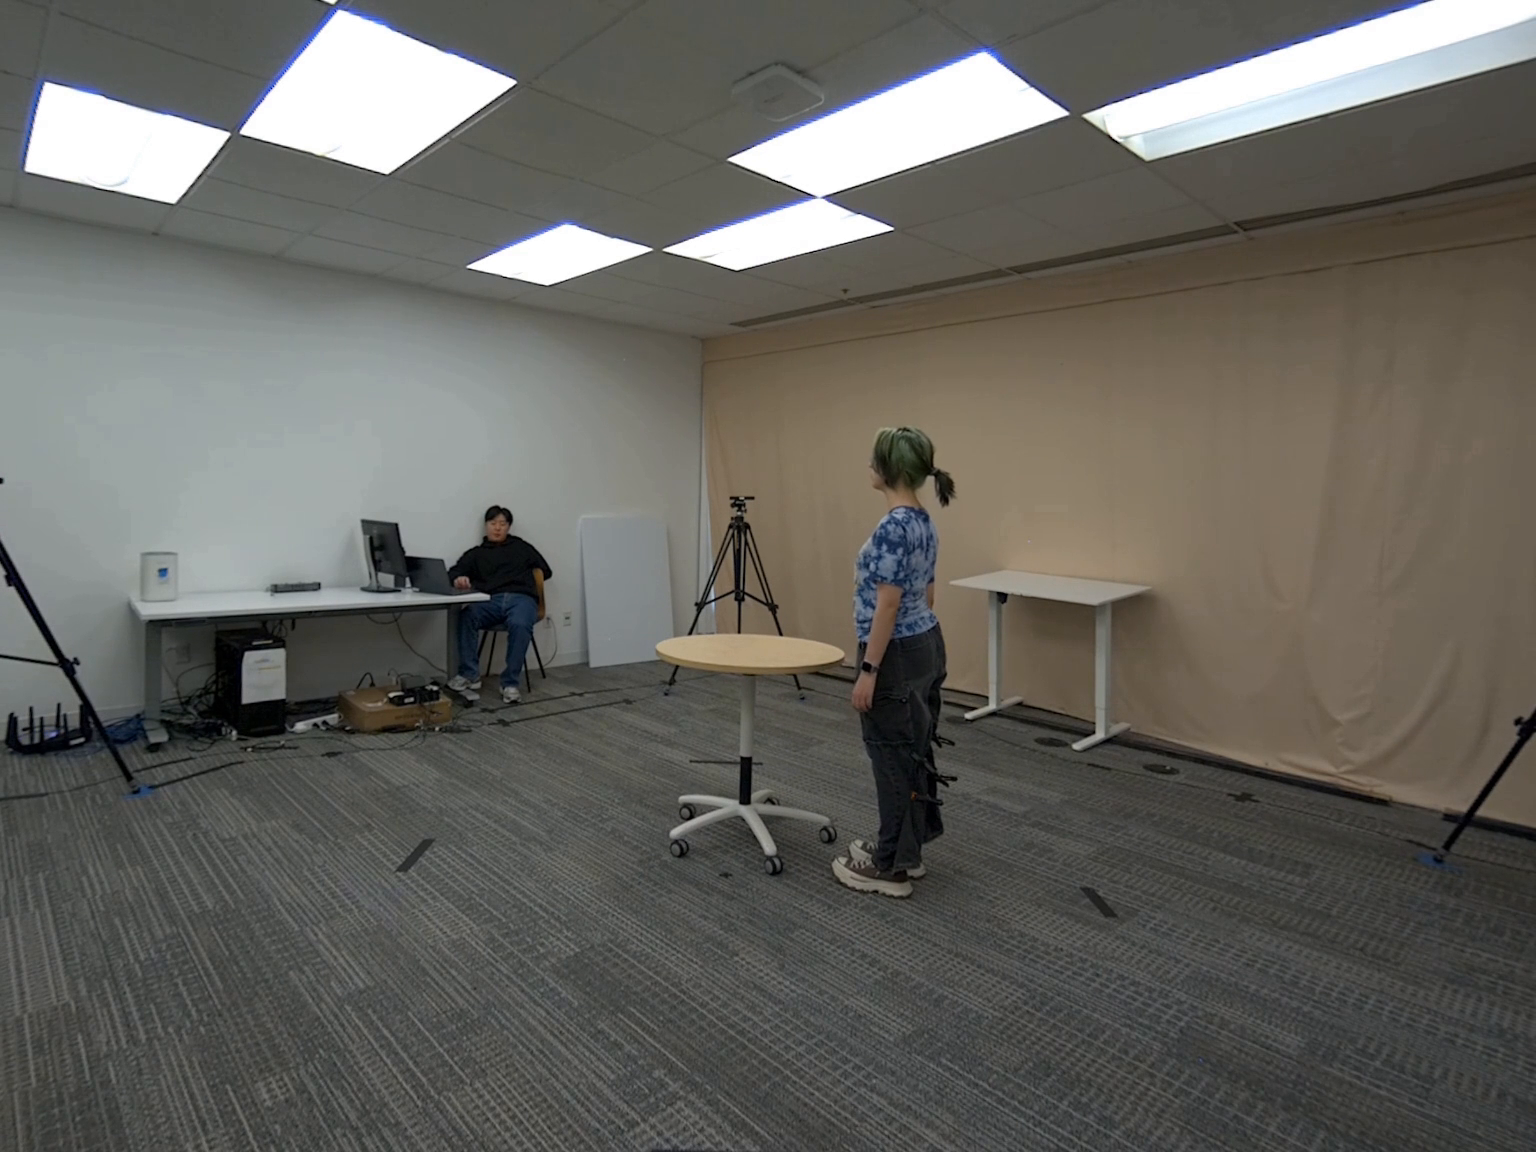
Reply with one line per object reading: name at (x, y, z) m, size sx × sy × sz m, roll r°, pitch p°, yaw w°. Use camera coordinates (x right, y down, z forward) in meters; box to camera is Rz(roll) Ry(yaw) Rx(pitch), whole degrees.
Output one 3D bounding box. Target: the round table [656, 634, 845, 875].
round table at (-0.095, 0.691, 3.446) m, size 0.763 × 0.792 × 0.766 m, roll 2°, pitch 4°, yaw -1°
